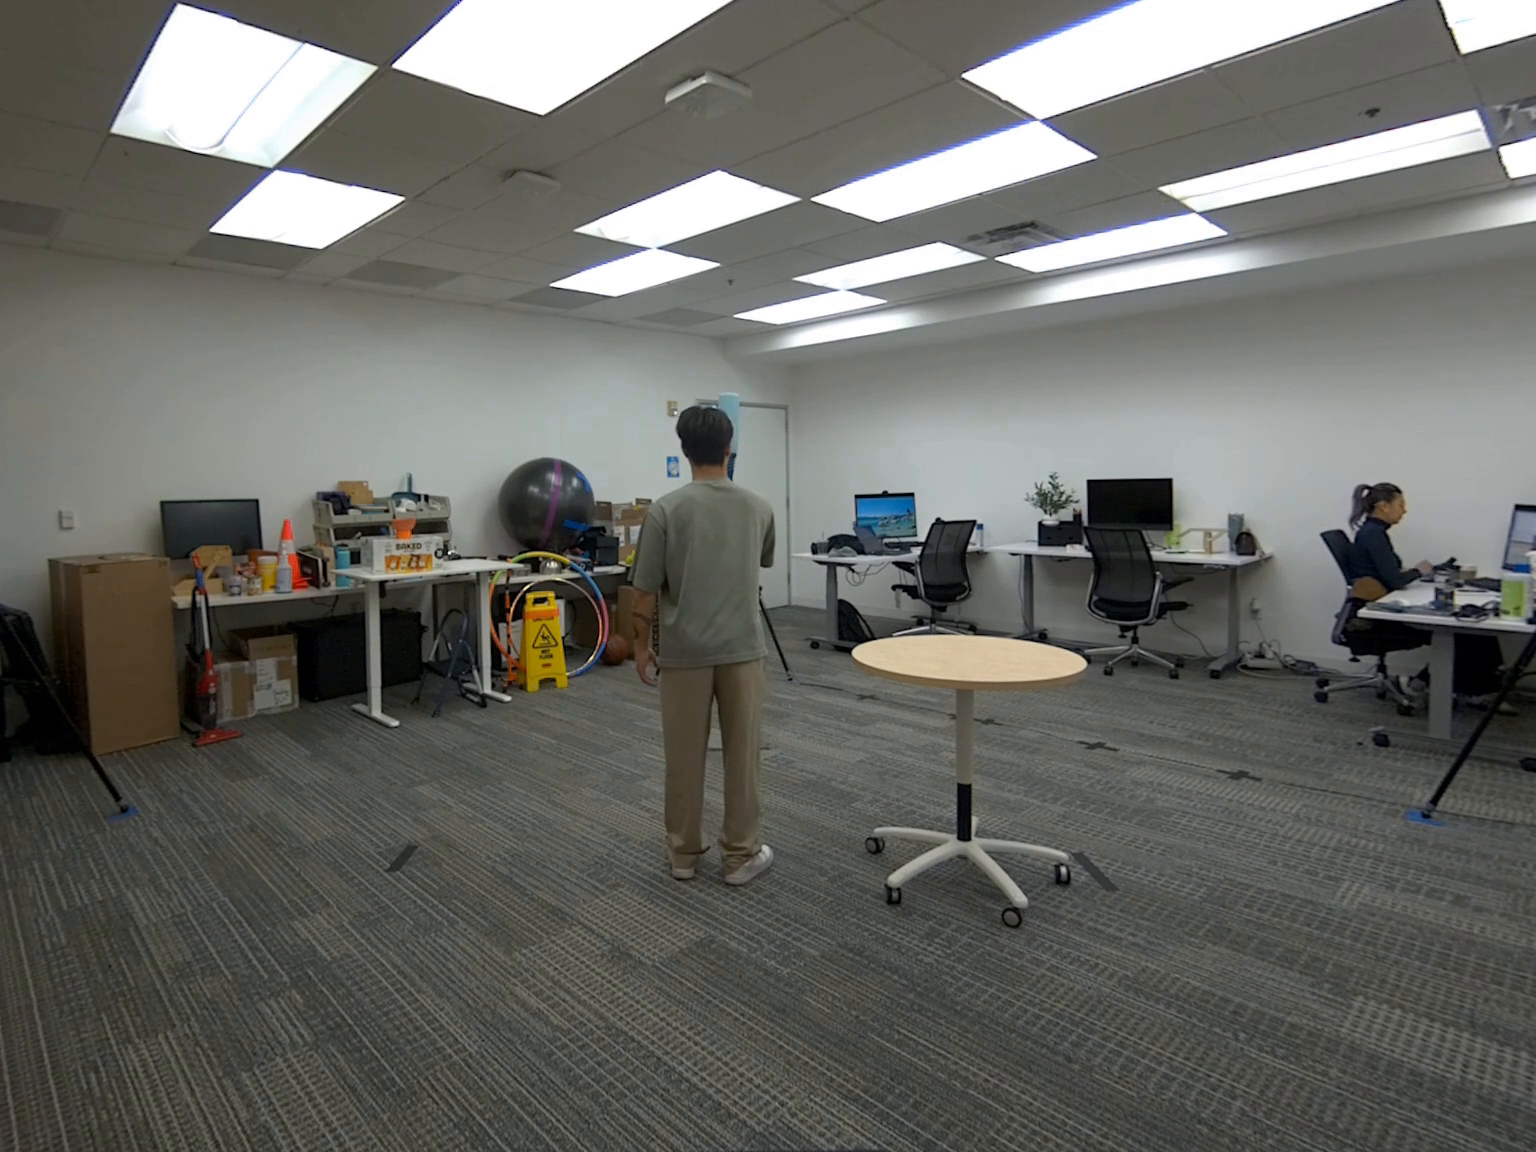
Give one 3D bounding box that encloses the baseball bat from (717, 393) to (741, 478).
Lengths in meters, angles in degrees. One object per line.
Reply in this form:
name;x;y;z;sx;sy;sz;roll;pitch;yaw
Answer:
baseball bat;-0.162;-0.497;3.584;0.089;0.542;0.089;0;2;-2
